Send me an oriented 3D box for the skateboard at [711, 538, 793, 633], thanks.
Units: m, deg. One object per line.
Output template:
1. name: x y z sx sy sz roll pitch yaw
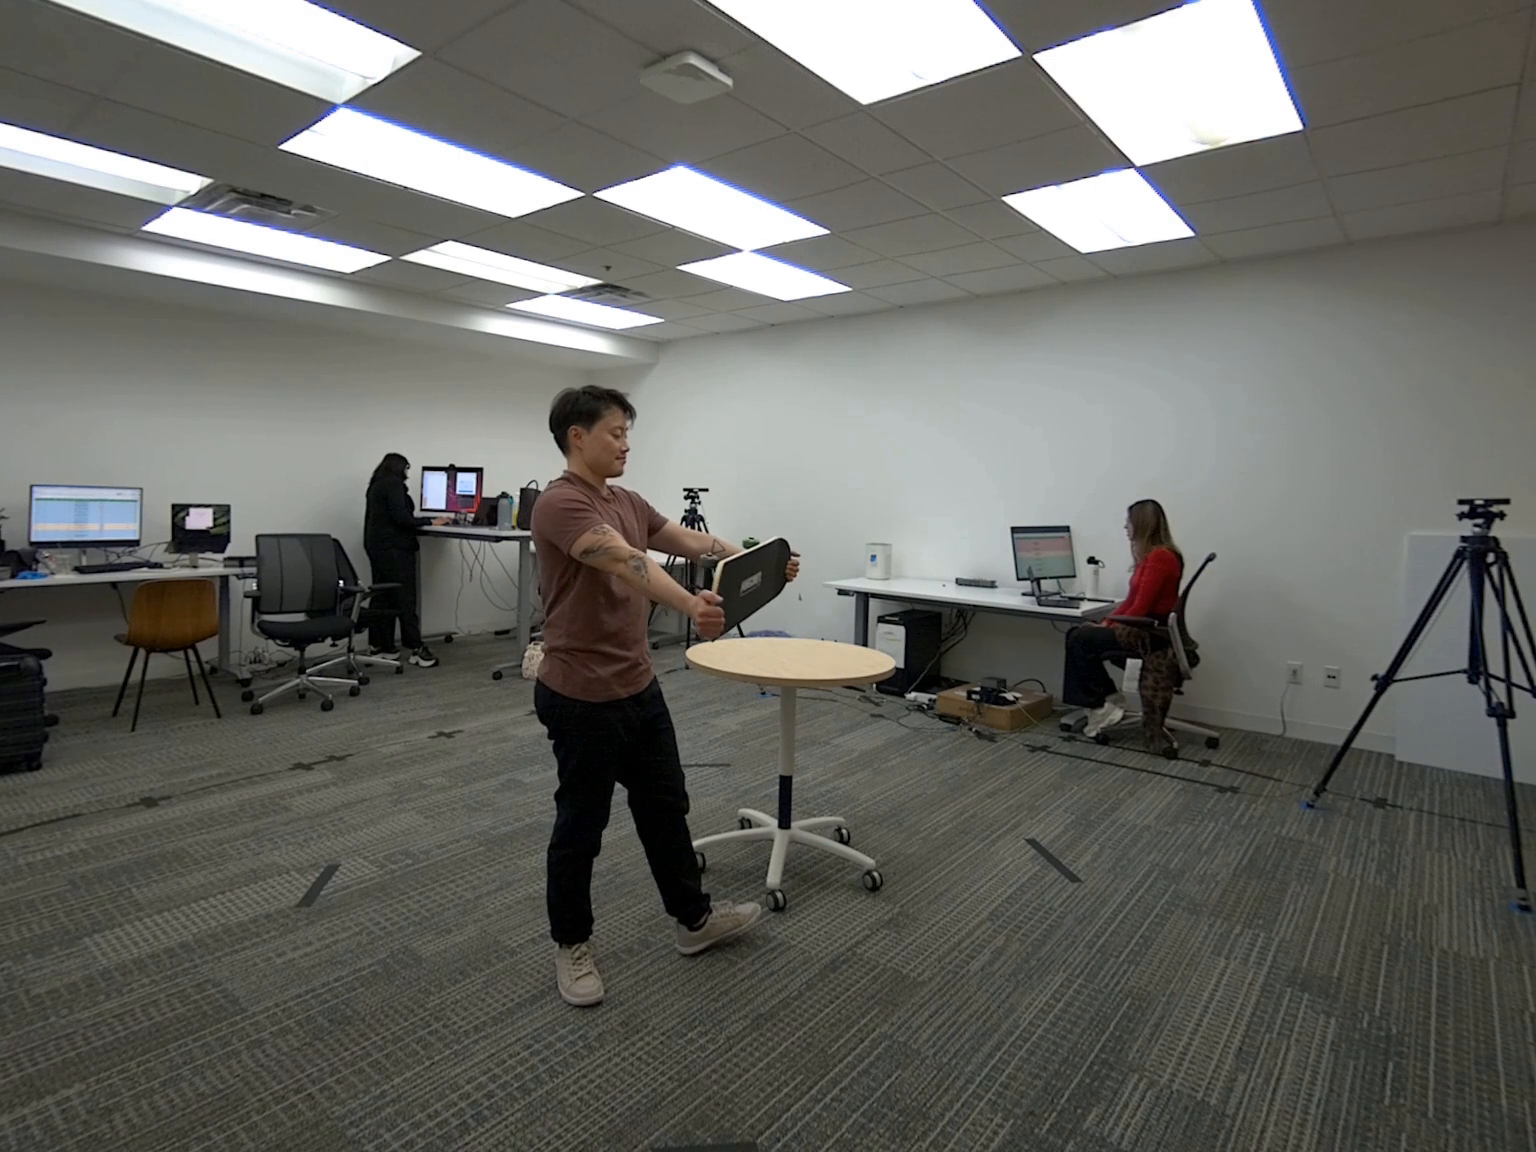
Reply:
1. skateboard: -0.077 0.018 2.304 0.112 0.192 0.777 8 11 14
